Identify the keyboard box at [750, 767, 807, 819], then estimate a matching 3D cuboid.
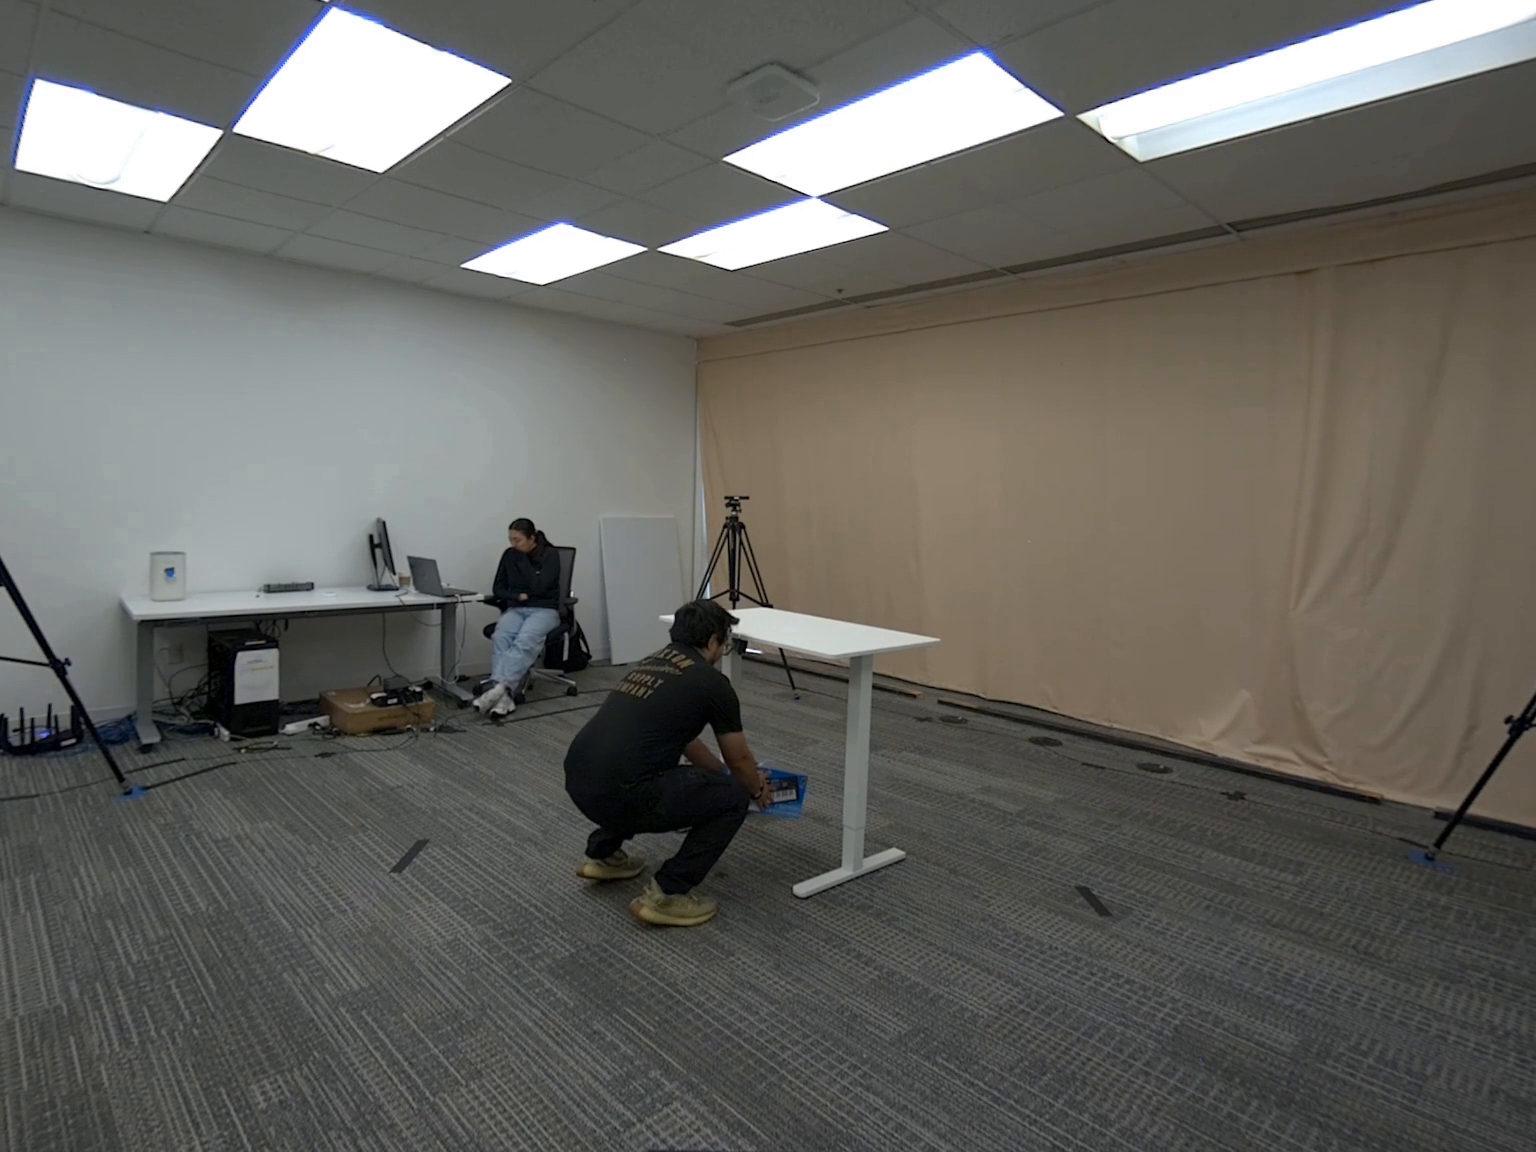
[{"bbox_3d":[-0.019,0.847,3.310,0.060,0.177,0.424,0,-17,46],"label":"keyboard box"}]
